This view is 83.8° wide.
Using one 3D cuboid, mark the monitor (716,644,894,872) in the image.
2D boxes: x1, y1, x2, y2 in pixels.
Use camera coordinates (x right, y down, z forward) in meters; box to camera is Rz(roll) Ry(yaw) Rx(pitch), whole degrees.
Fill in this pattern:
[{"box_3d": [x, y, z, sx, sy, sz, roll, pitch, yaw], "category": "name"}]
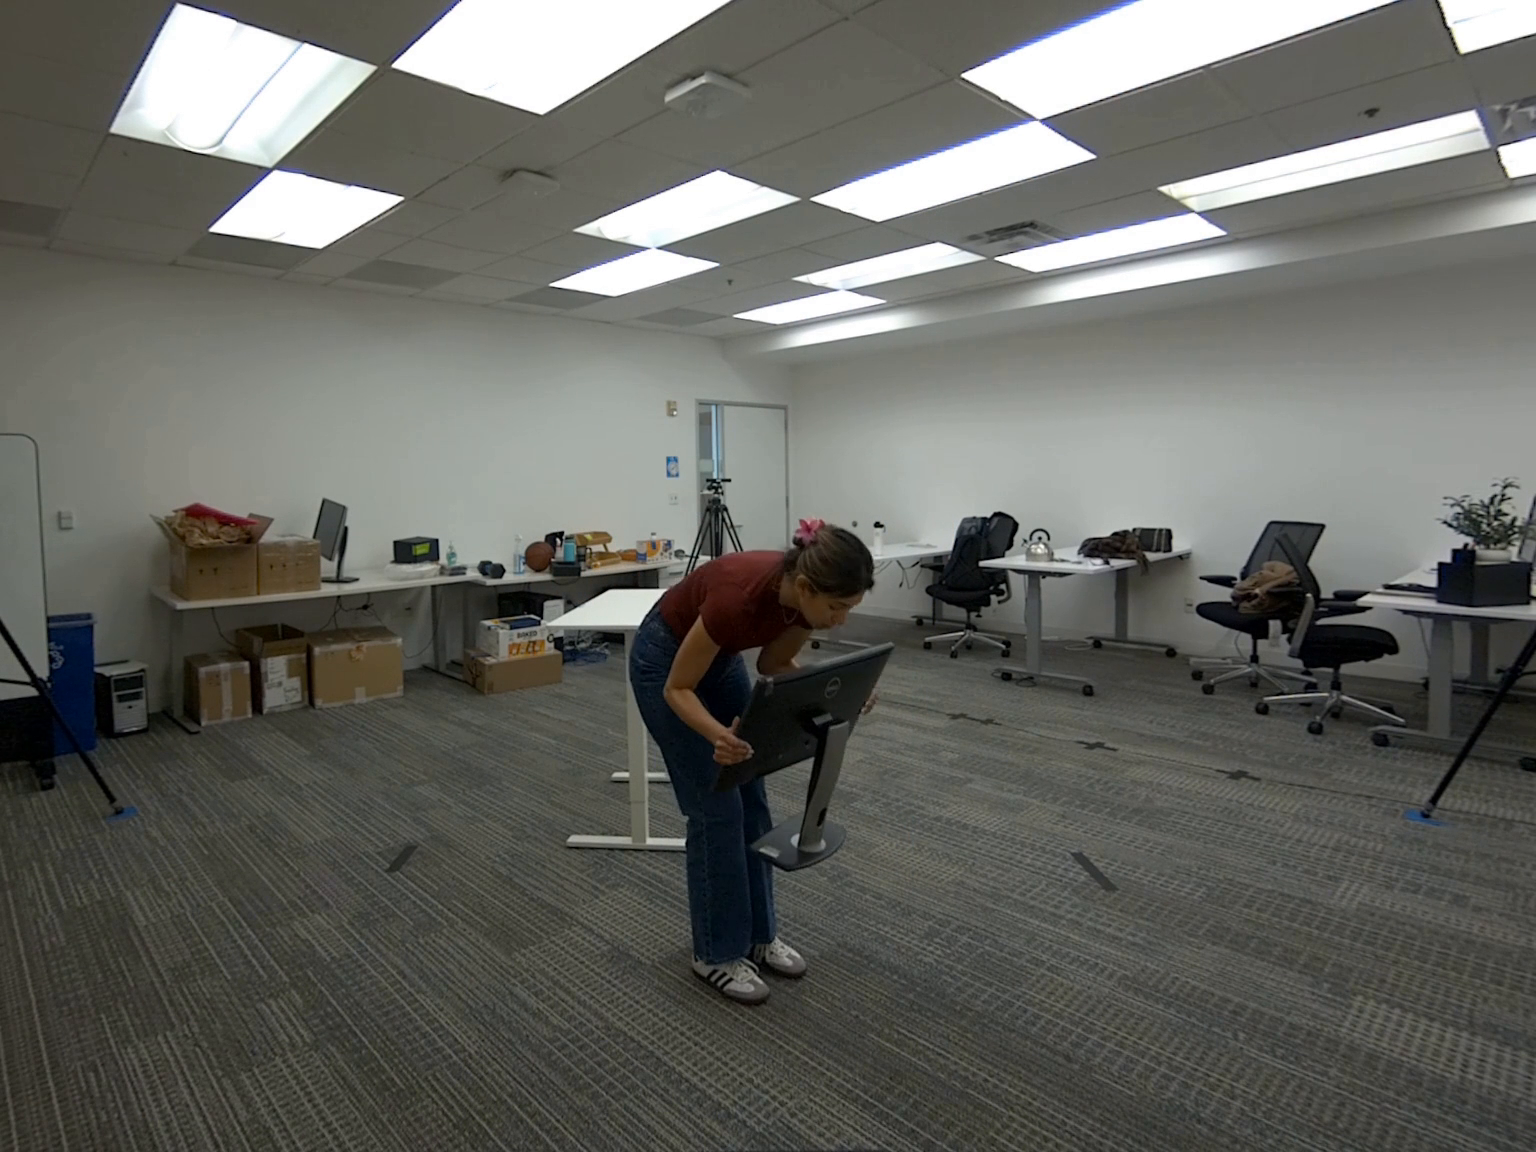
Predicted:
[{"box_3d": [0.112, 0.452, 2.185, 0.194, 0.517, 0.525, 17, 16, 41], "category": "monitor"}]
